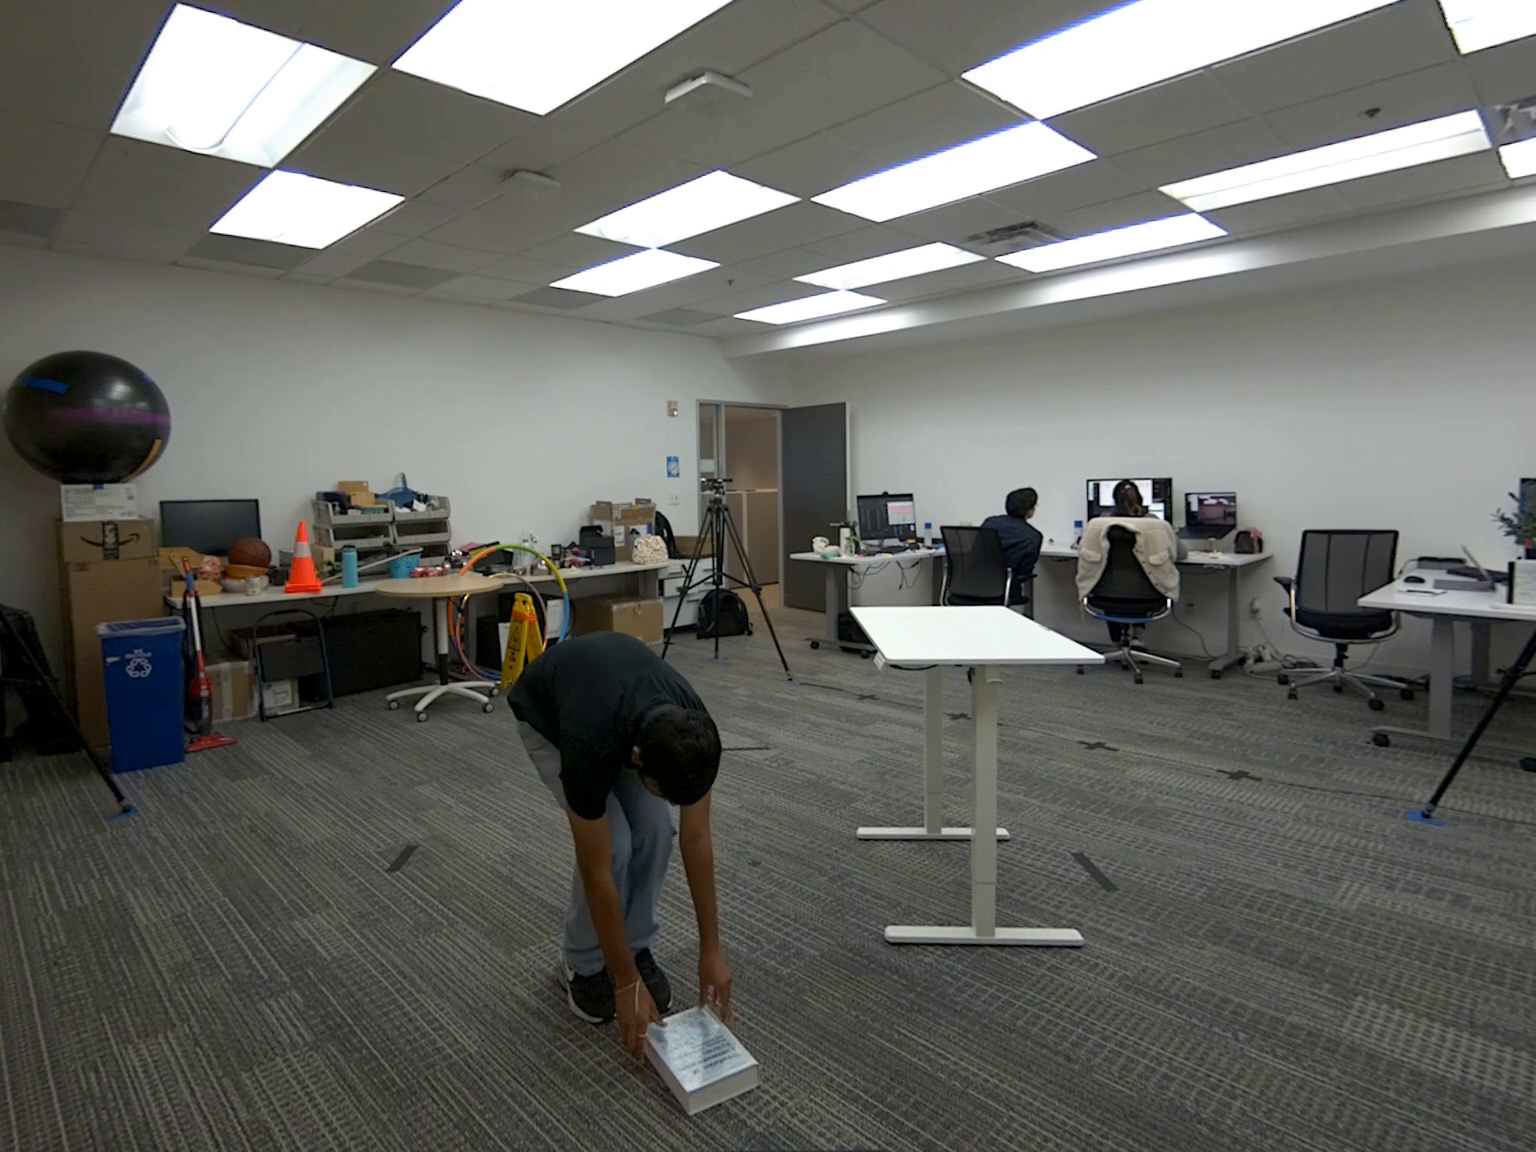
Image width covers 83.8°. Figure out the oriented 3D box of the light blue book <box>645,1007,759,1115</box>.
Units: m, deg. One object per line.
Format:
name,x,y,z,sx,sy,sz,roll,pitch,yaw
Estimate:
light blue book,-0.166,1.139,2.034,0.187,0.059,0.268,-6,8,-31
